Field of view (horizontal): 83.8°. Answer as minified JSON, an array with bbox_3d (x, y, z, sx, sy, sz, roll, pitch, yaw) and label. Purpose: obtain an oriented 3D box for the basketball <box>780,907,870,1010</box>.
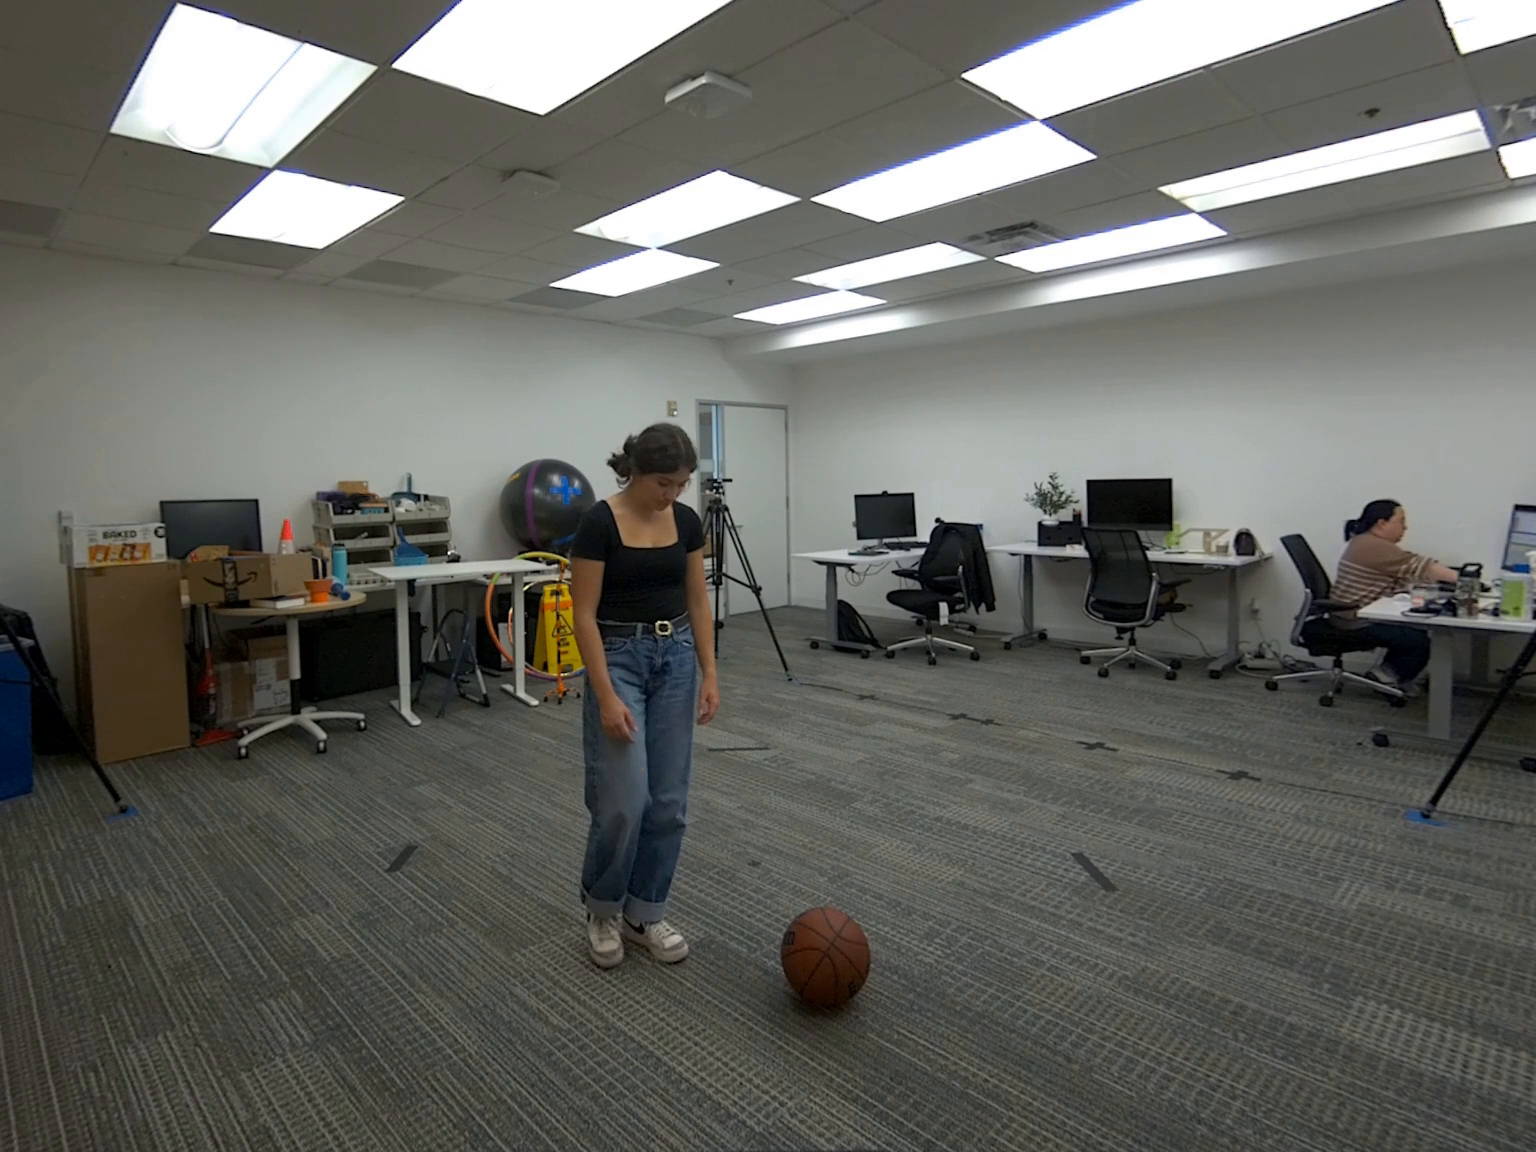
[{"bbox_3d":[0.158,1.011,2.287,0.236,0.235,0.237,-1,5,-2],"label":"basketball"}]
